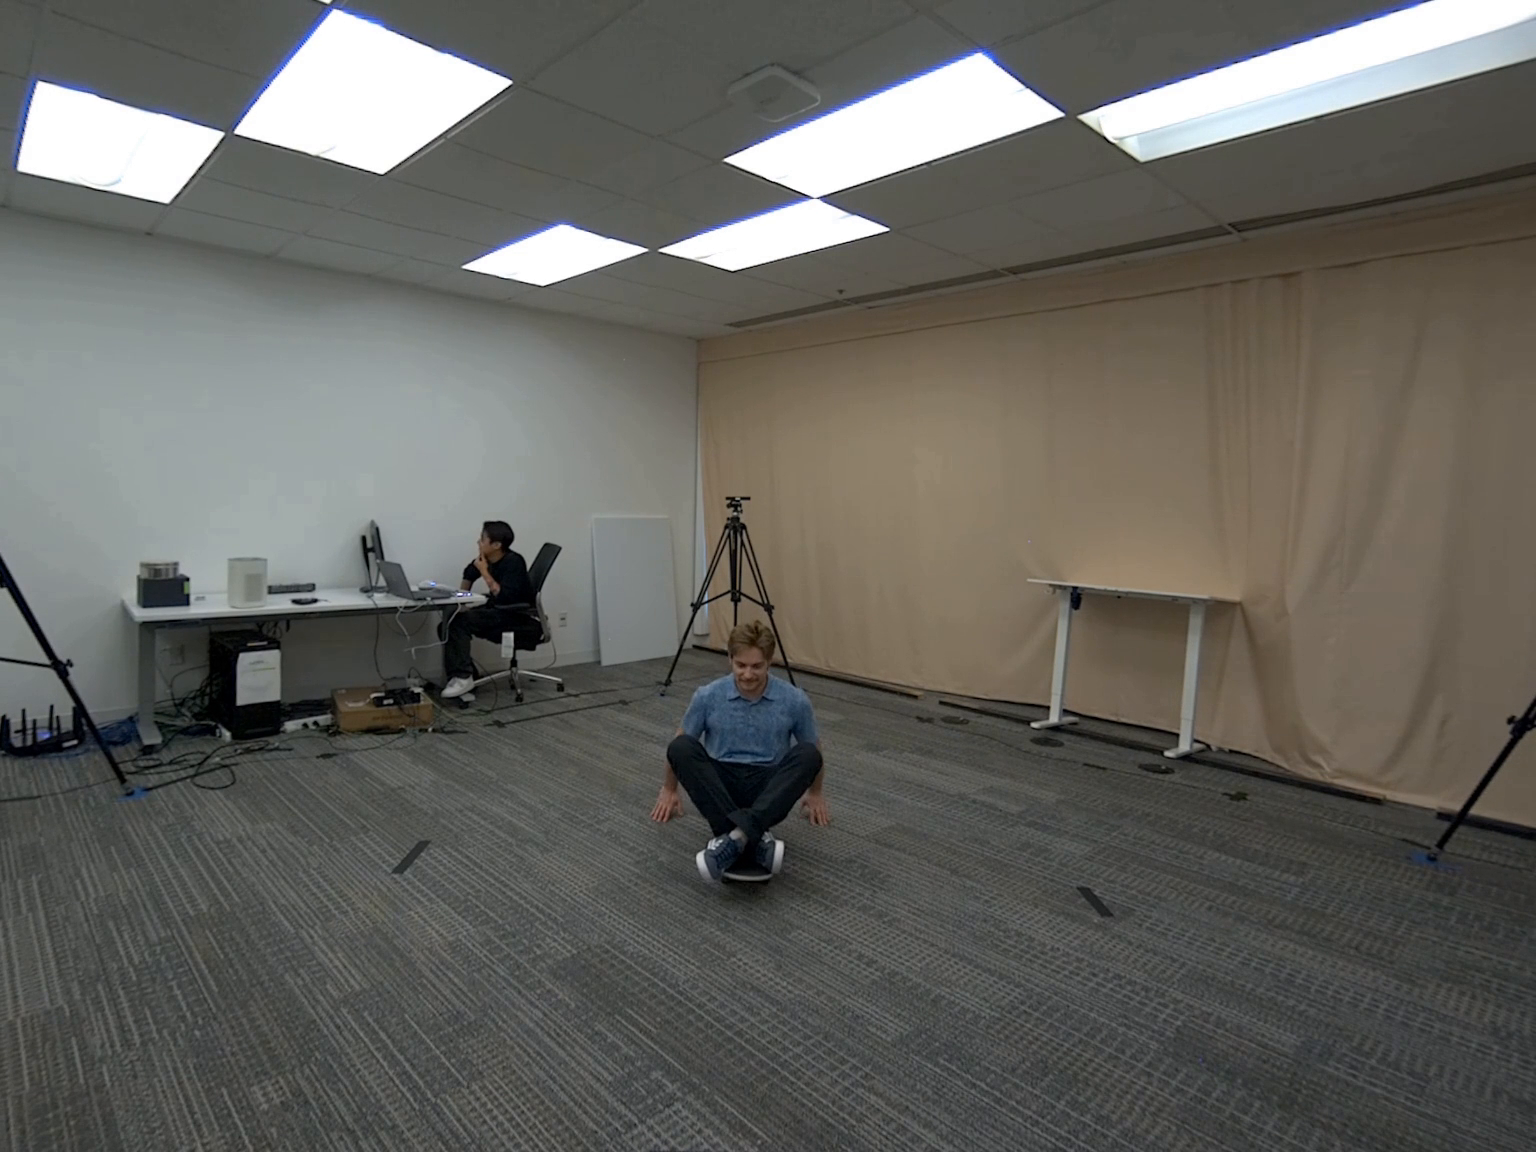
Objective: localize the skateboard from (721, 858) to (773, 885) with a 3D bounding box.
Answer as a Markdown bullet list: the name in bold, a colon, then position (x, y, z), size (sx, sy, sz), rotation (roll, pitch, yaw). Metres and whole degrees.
- **skateboard**: position (-0.097, 1.048, 3.241), size (0.193, 0.110, 0.788), rotation (2, 4, -3)
